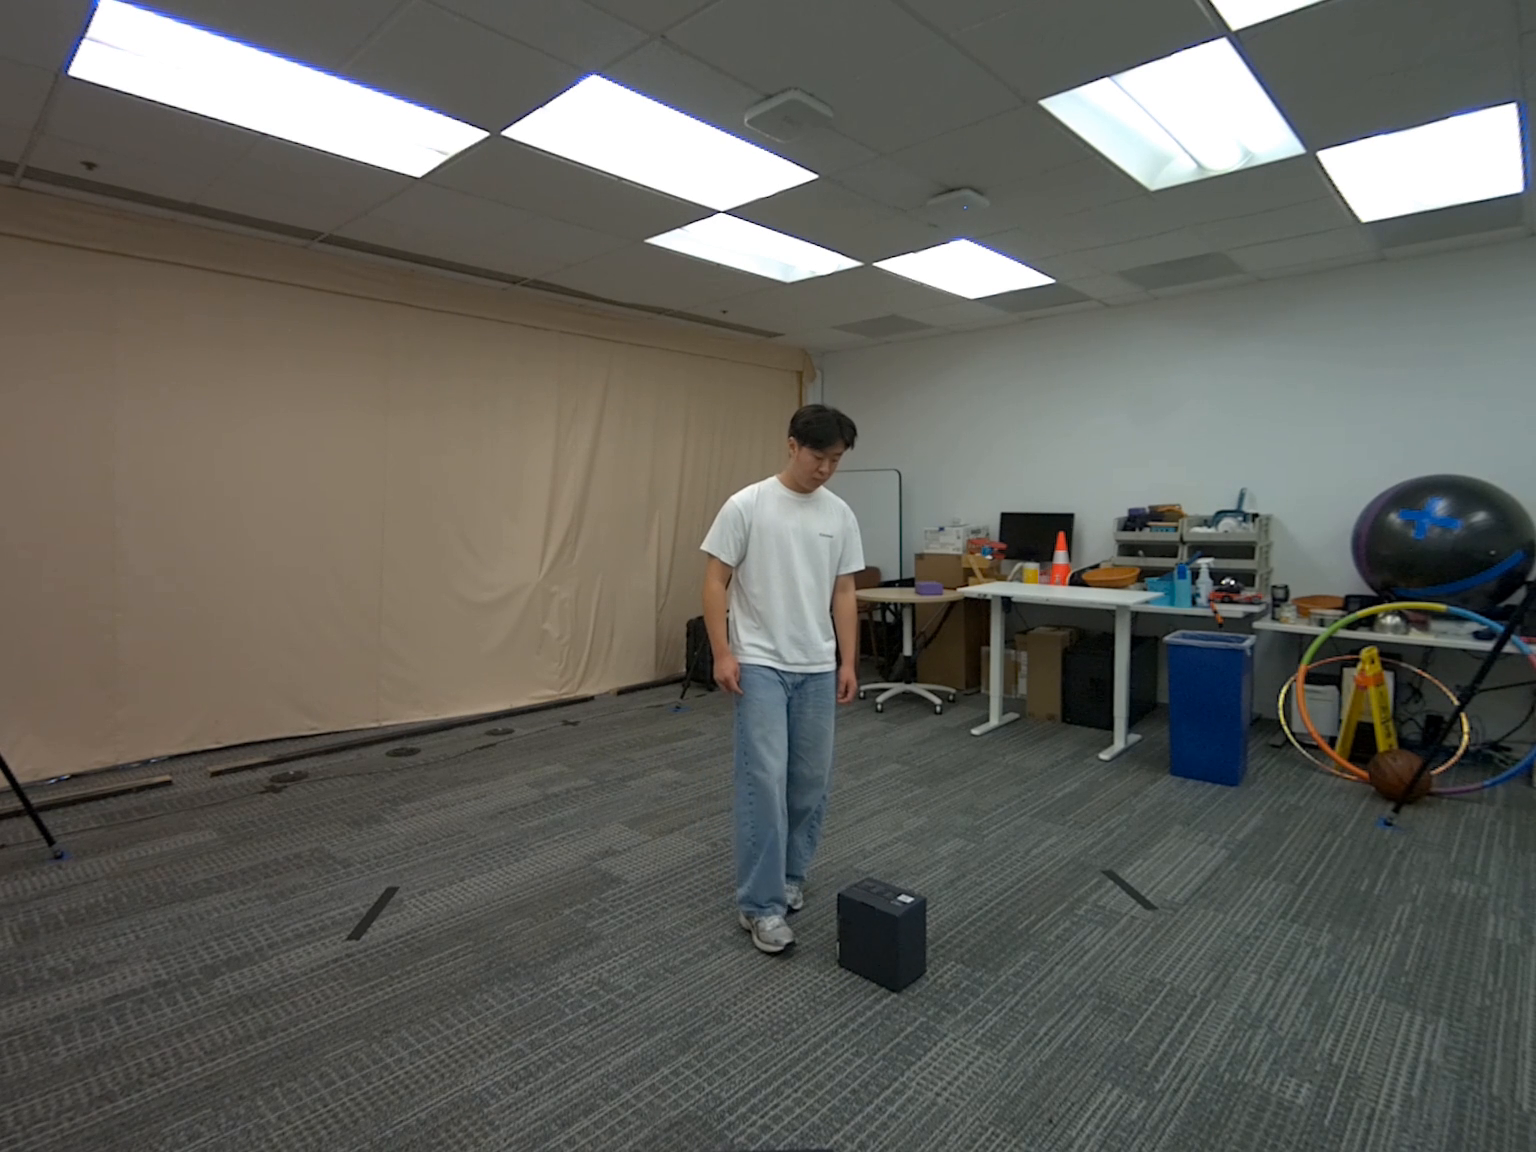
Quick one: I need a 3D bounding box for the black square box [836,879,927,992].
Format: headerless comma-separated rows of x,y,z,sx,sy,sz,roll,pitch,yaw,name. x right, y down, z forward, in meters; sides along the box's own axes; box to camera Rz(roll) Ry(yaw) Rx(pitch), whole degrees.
0.342,1.062,2.517,0.224,0.227,0.151,3,4,42,black square box
